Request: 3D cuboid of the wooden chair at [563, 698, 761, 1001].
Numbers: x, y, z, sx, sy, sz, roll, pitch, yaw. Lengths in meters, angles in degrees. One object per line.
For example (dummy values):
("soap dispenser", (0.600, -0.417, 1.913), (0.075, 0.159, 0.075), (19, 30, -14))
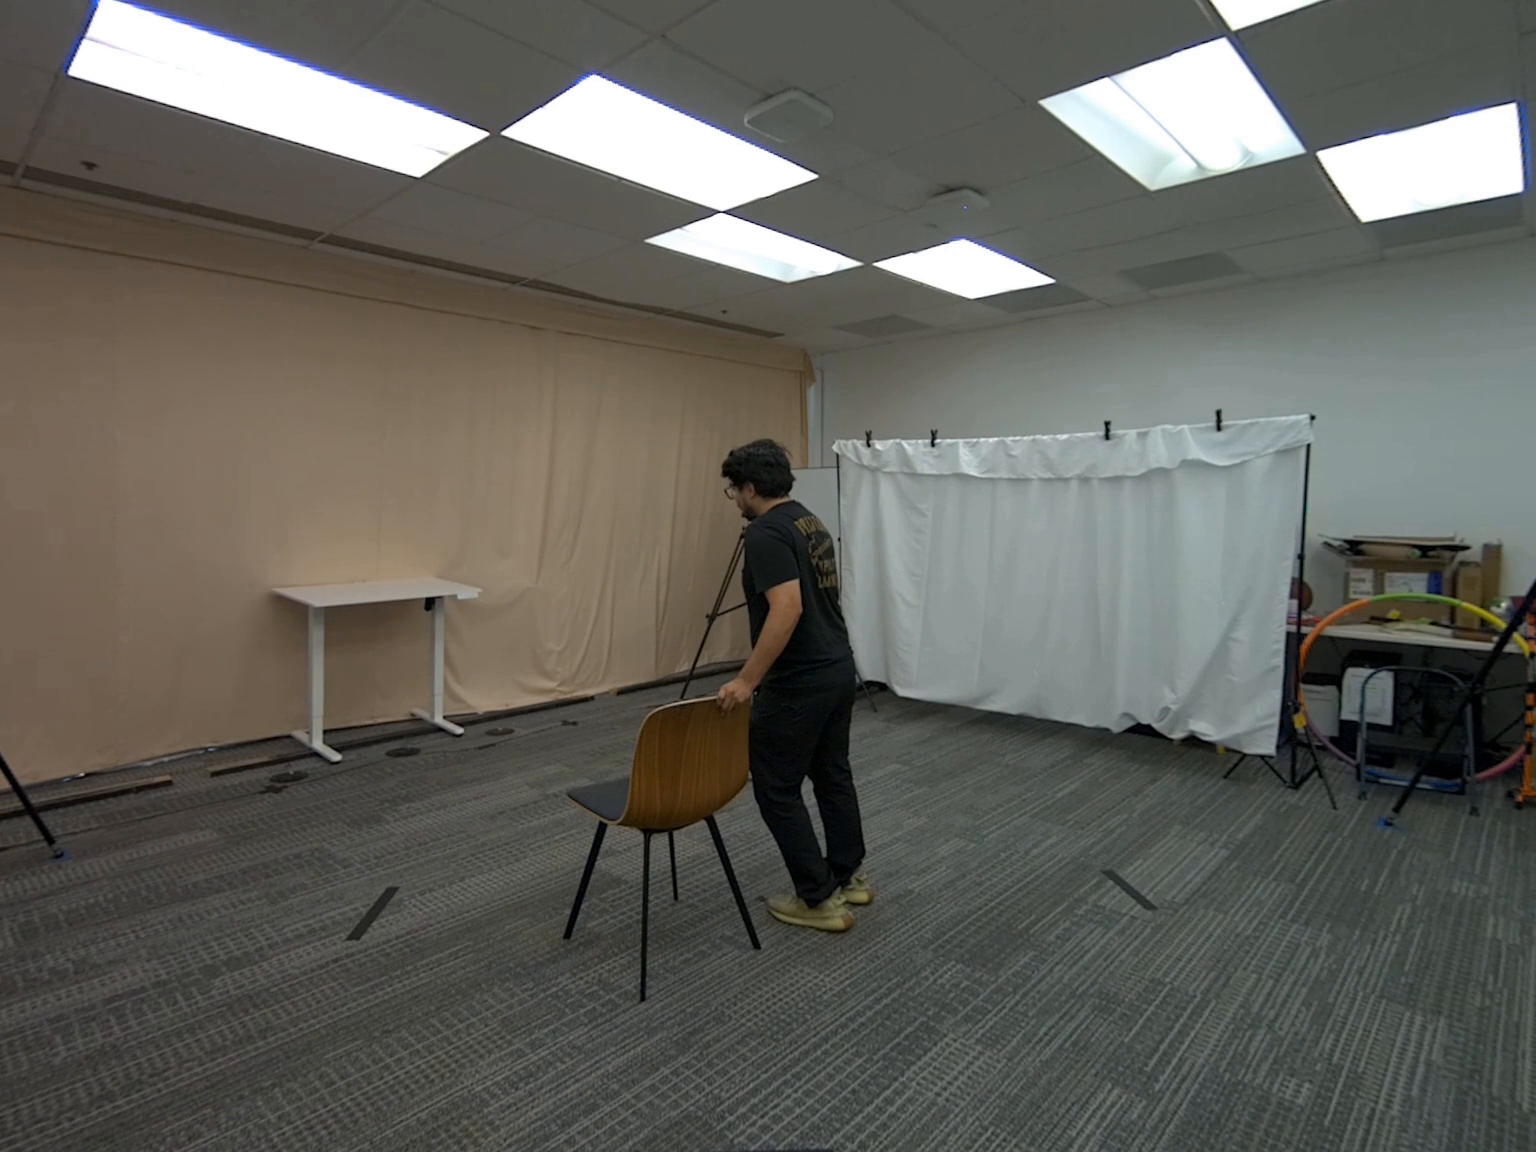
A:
("wooden chair", (-0.348, 0.748, 2.655), (0.463, 0.874, 0.541), (-2, 8, -41))
